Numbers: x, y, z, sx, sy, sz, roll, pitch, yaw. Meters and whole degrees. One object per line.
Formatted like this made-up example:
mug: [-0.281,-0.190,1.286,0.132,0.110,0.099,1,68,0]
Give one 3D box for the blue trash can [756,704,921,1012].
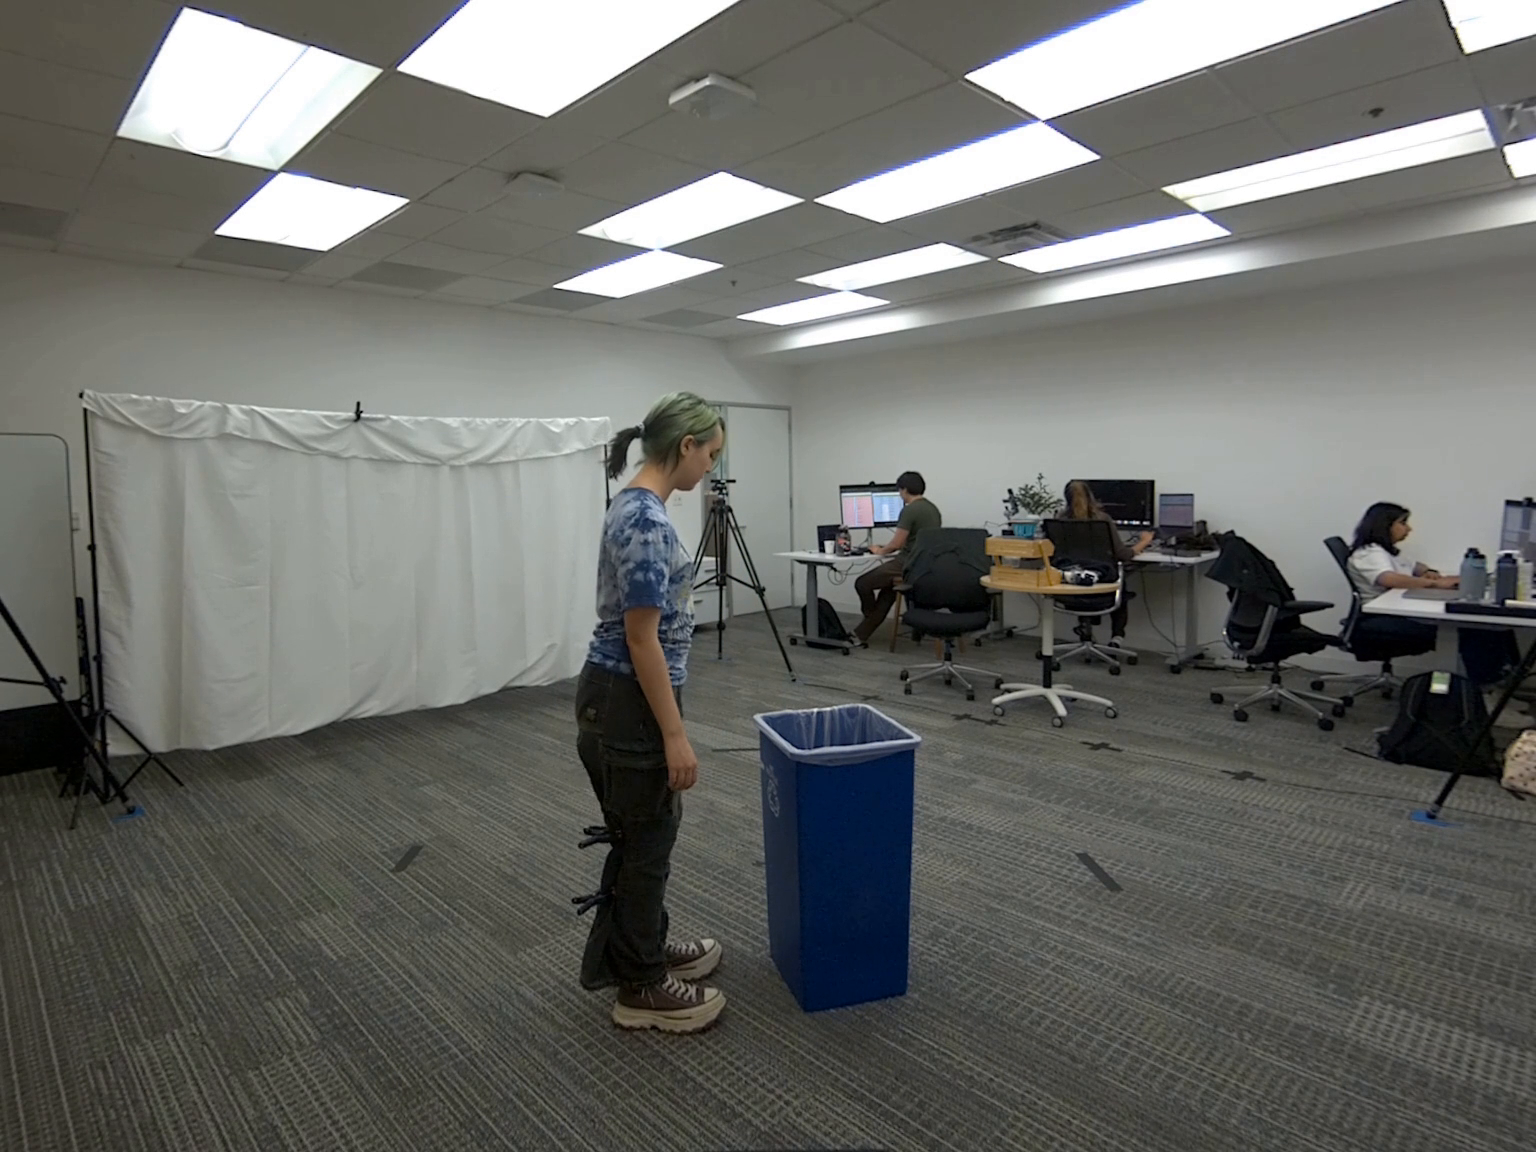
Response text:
blue trash can: [0.196,0.771,2.383,0.373,0.710,0.381,-3,5,-16]
